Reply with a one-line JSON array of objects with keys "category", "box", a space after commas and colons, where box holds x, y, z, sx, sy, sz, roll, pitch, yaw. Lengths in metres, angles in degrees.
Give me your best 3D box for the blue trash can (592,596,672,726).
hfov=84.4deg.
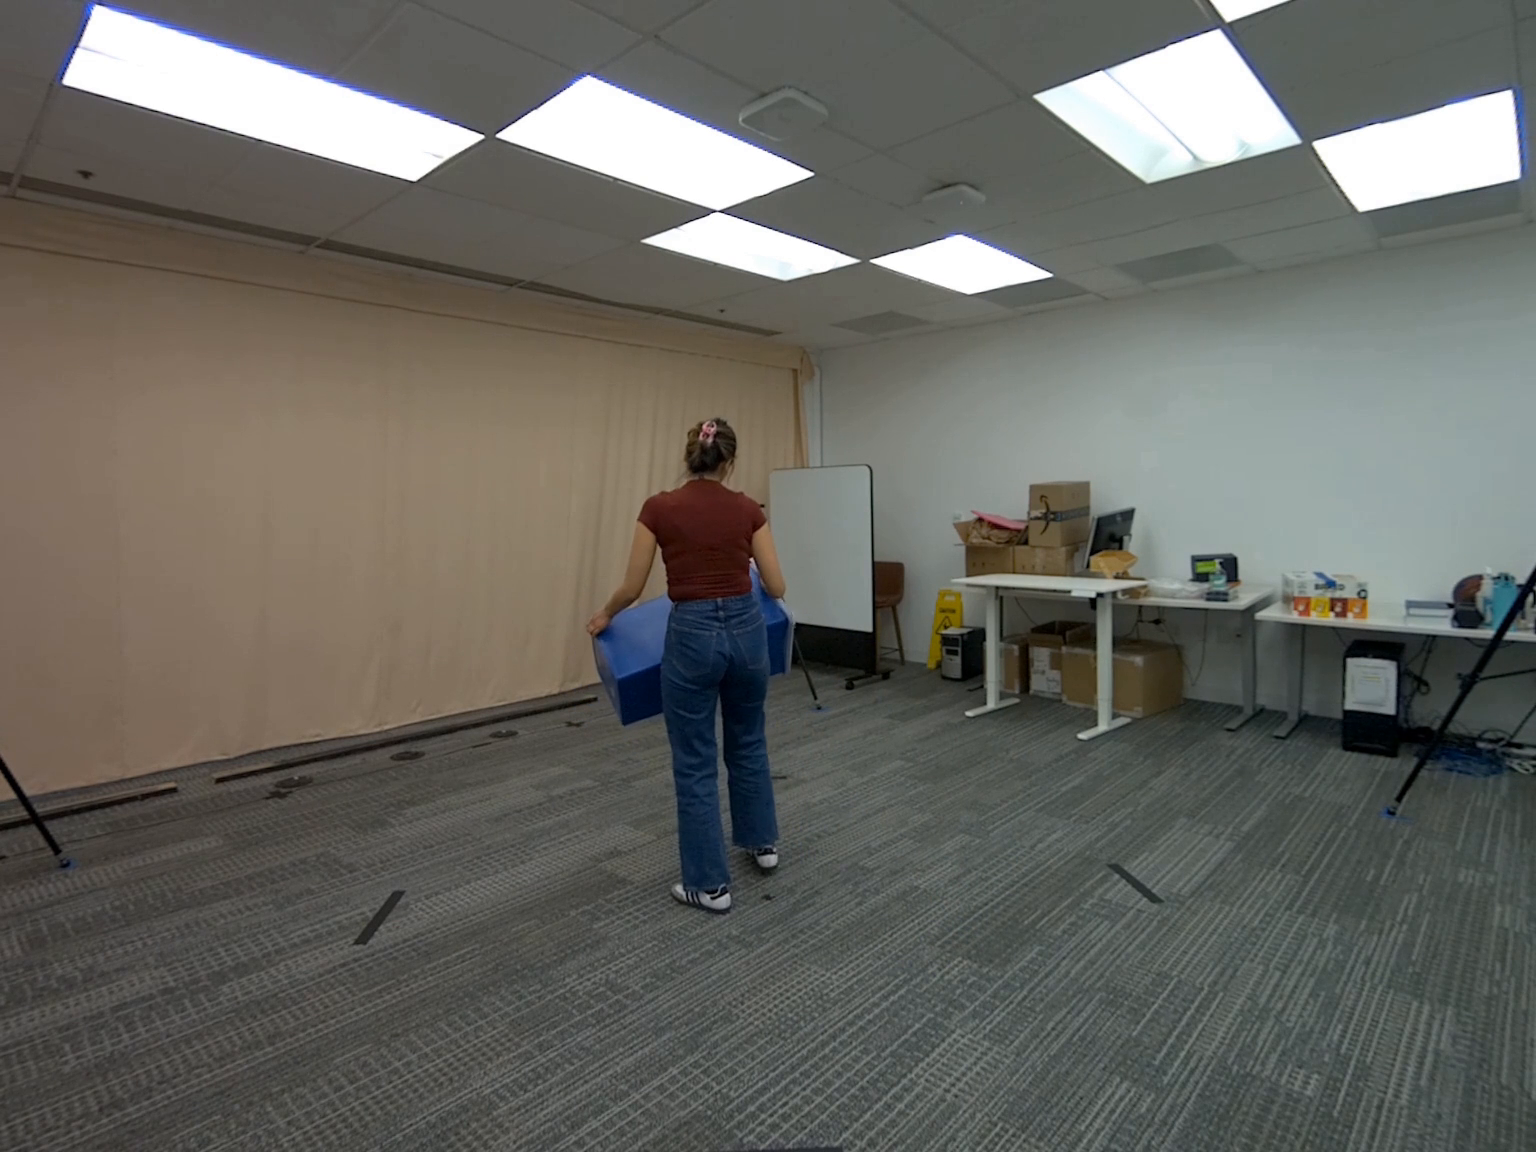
[{"category": "blue trash can", "box": [-0.297, 0.281, 3.331, 0.703, 0.371, 0.386, -20, 49, -18]}]
